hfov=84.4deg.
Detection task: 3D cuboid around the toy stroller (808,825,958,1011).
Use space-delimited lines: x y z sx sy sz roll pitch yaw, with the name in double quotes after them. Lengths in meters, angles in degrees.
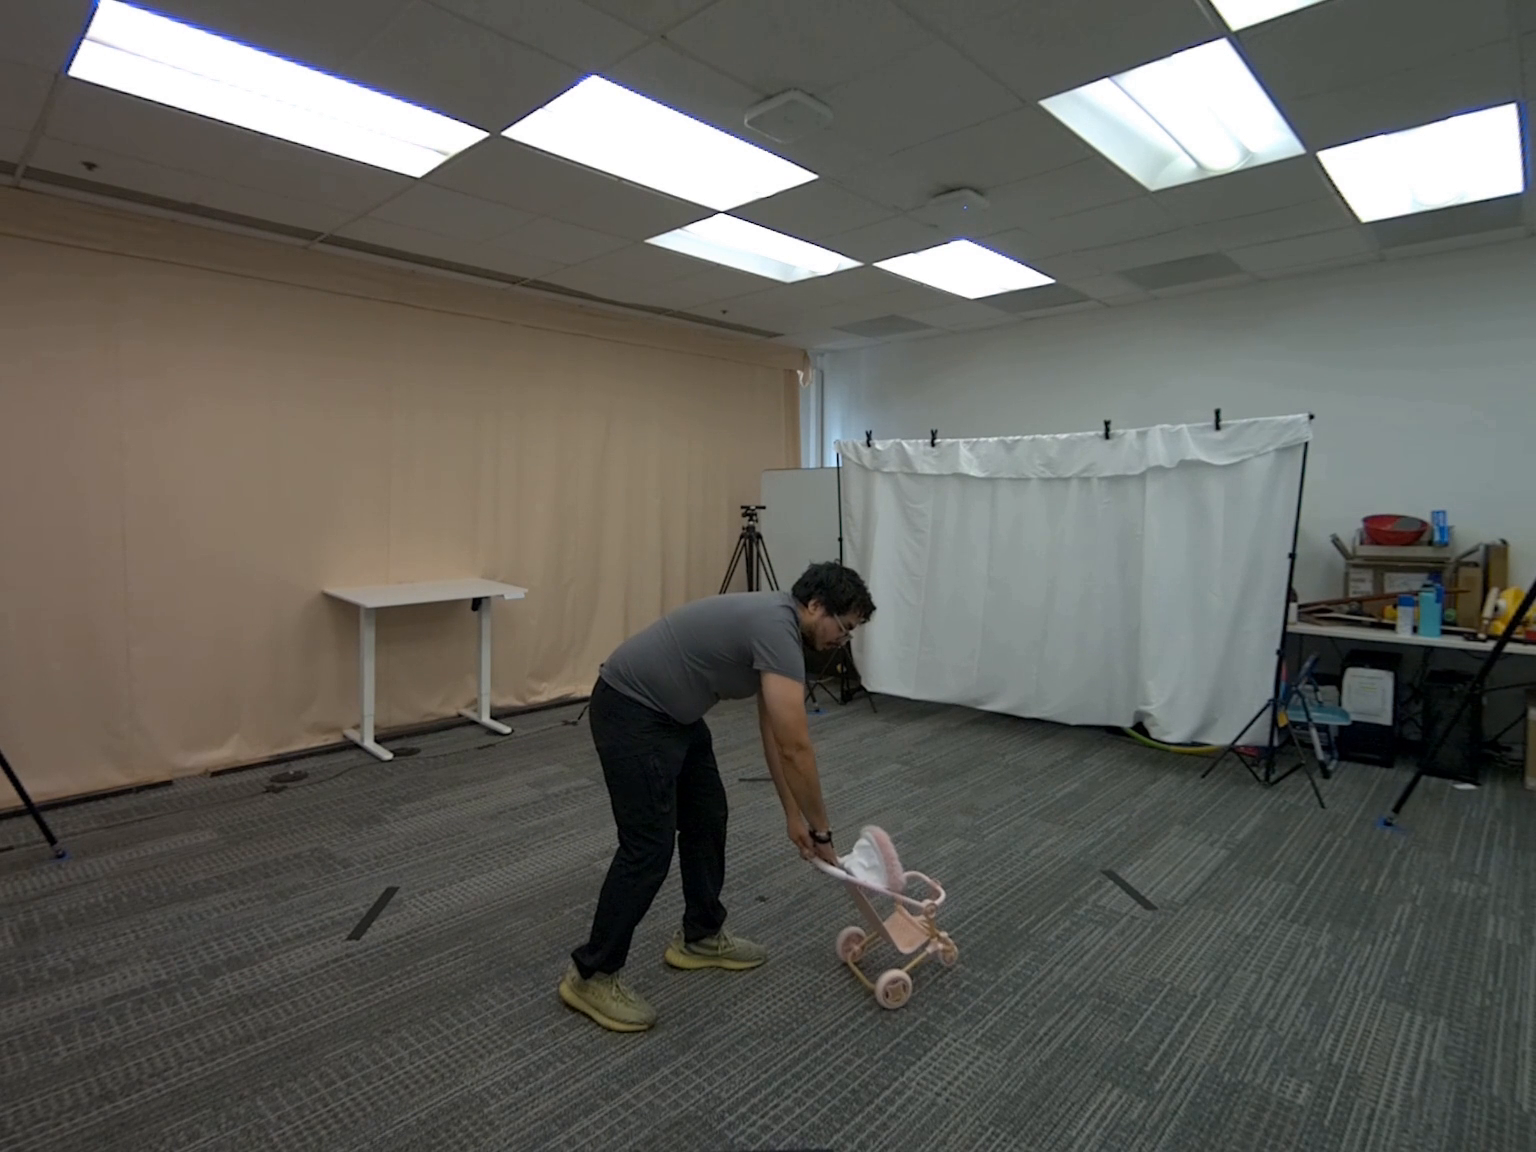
0.355 0.963 2.449 0.338 0.531 0.286 -21 8 -12 "toy stroller"
